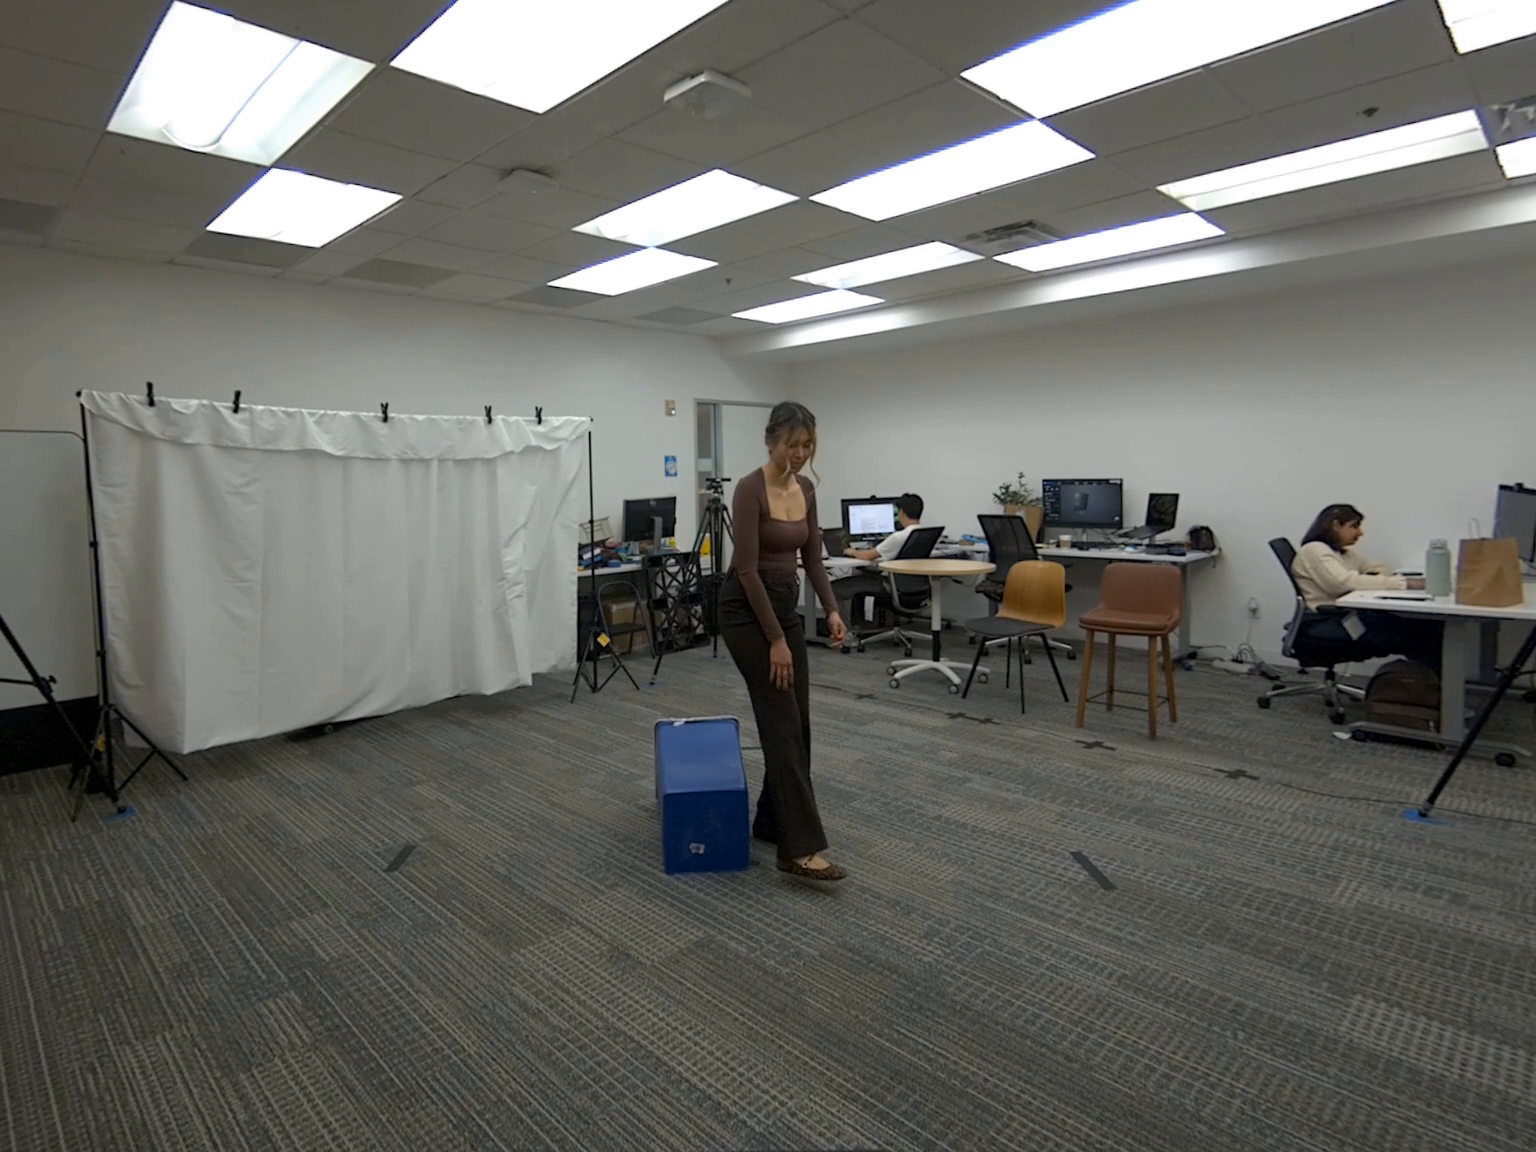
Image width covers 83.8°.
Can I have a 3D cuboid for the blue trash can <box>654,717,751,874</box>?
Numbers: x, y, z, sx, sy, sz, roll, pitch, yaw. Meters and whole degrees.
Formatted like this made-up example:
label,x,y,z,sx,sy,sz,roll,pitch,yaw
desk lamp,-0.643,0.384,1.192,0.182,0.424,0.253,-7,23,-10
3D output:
label,x,y,z,sx,sy,sz,roll,pitch,yaw
blue trash can,-0.258,0.852,3.375,0.372,0.375,0.723,-1,9,-7
